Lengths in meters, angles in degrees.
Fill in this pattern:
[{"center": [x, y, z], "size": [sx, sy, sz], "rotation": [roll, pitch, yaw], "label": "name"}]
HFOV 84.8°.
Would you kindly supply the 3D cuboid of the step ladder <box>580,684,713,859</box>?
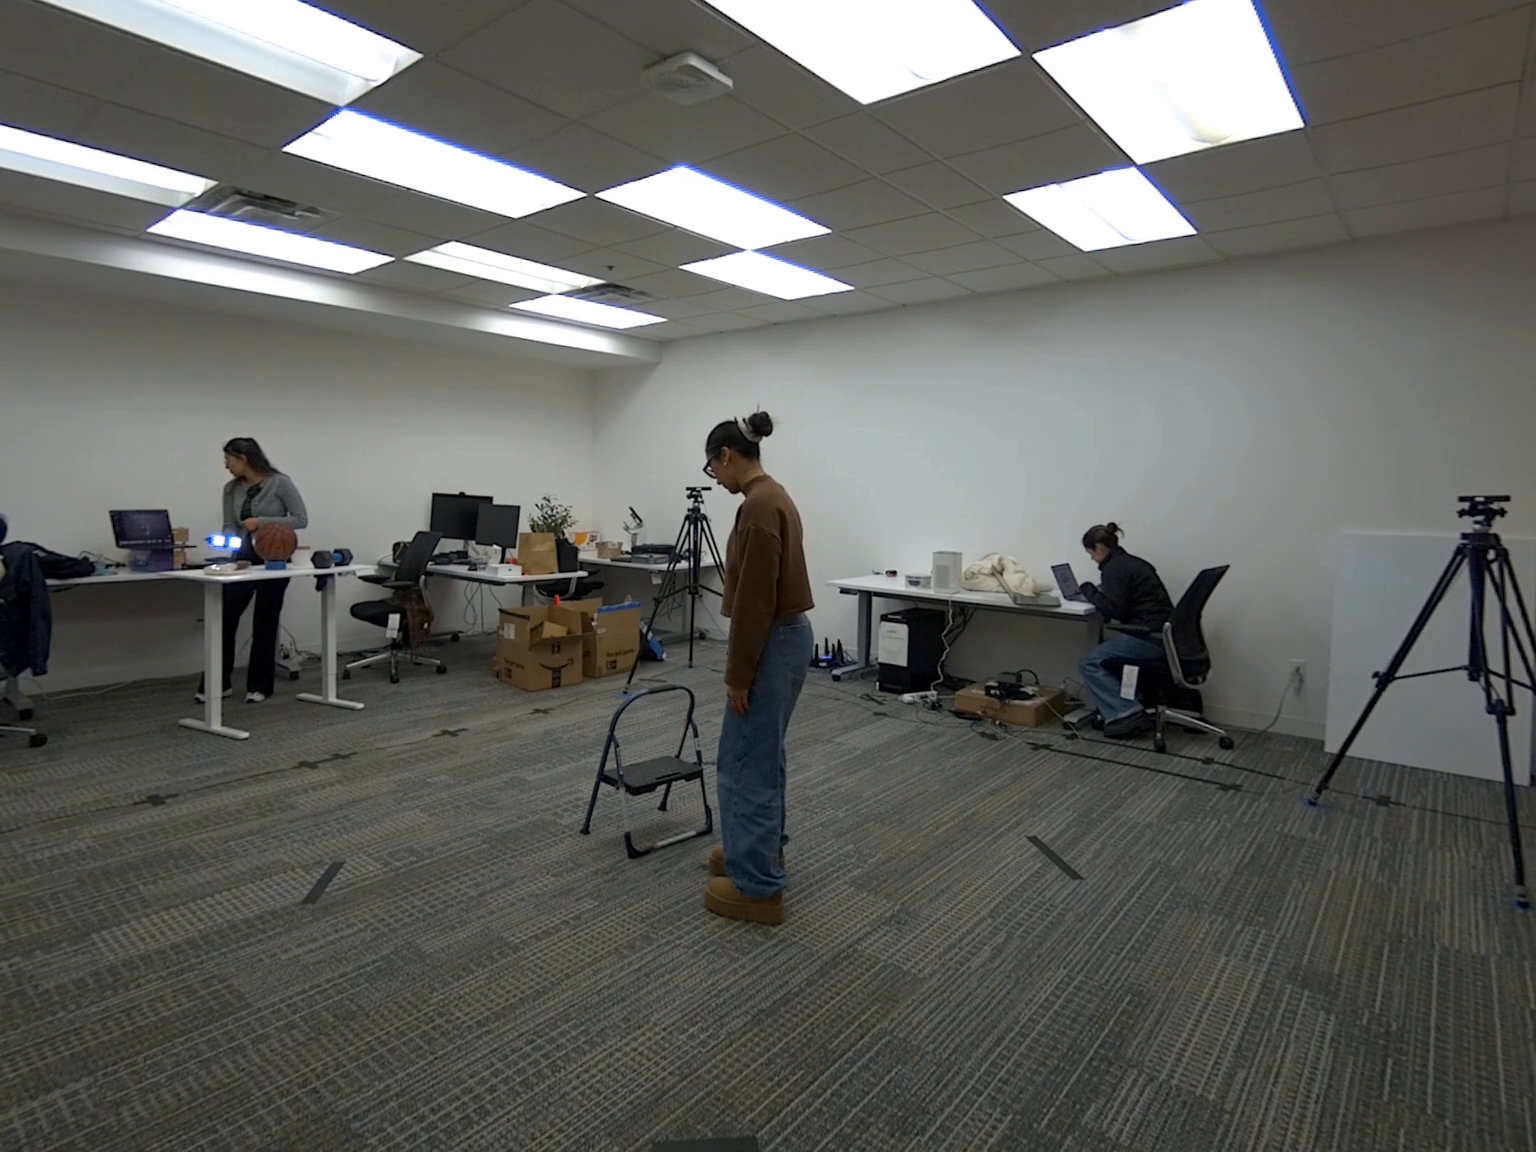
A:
[{"center": [-0.493, 0.727, 3.413], "size": [0.417, 0.604, 0.361], "rotation": [-3, 5, -44], "label": "step ladder"}]
